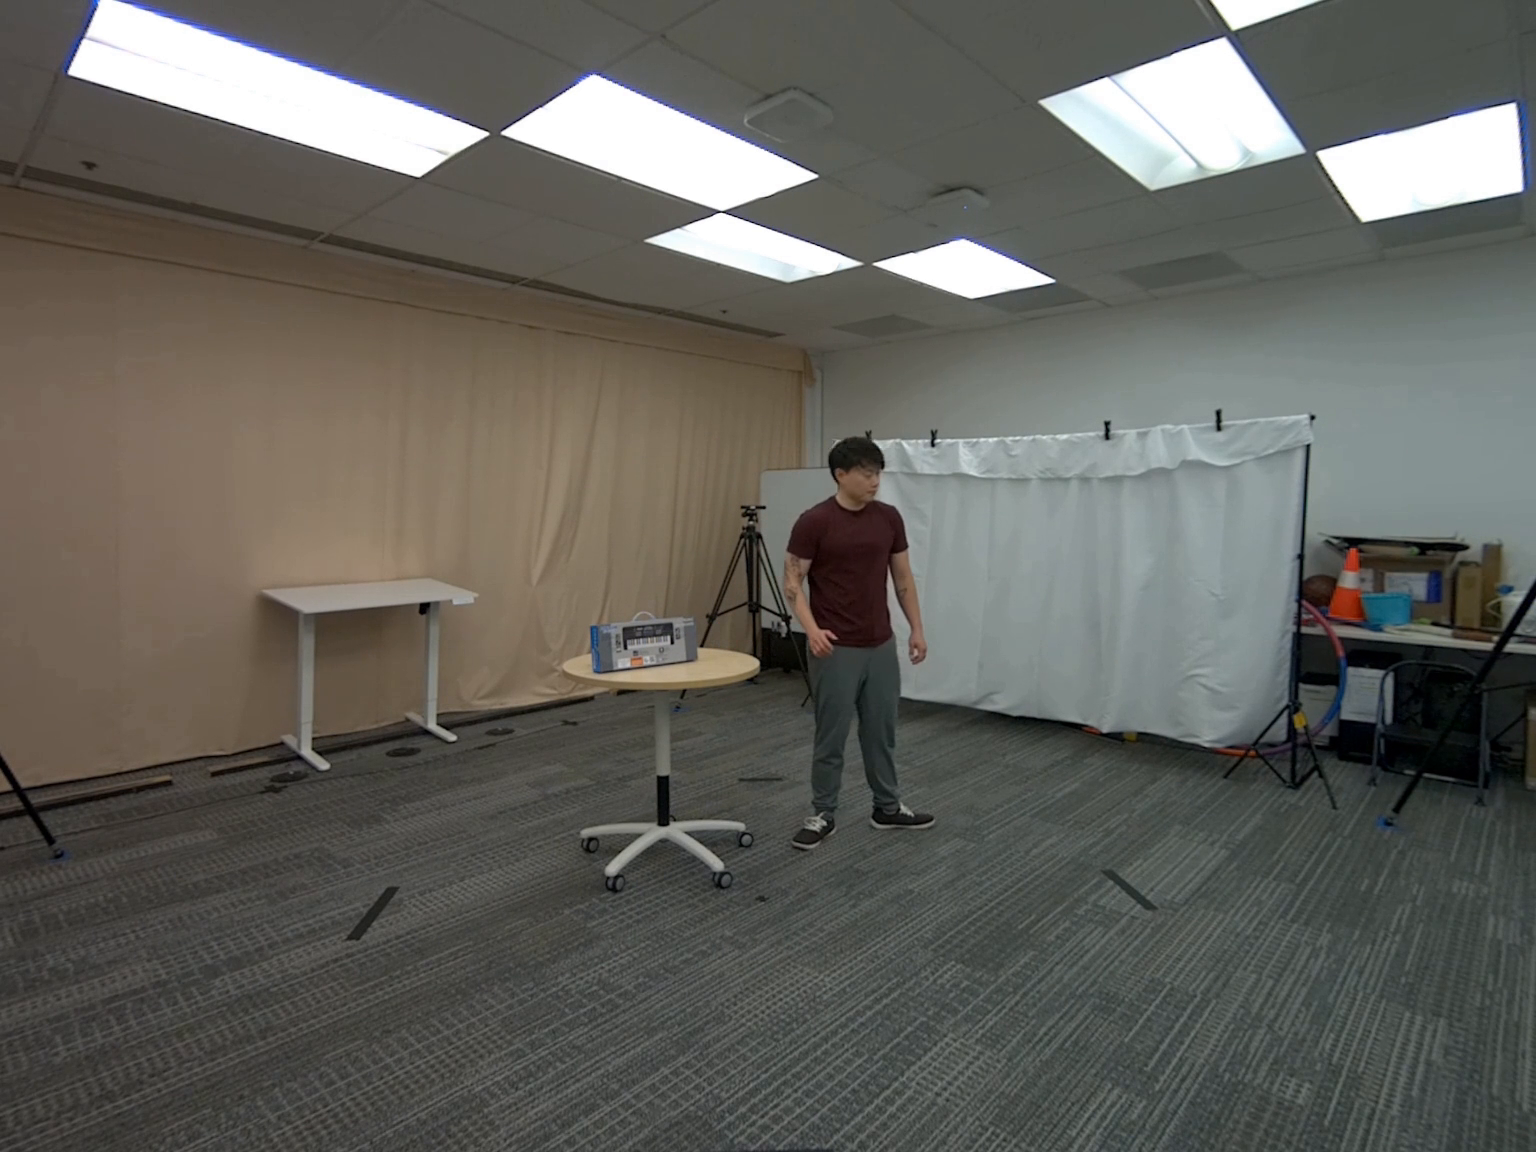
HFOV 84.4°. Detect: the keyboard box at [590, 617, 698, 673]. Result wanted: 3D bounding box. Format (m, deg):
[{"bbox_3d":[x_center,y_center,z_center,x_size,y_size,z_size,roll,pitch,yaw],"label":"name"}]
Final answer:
[{"bbox_3d":[-0.465,0.259,3.215,0.424,0.176,0.061,-3,-3,-37],"label":"keyboard box"}]
